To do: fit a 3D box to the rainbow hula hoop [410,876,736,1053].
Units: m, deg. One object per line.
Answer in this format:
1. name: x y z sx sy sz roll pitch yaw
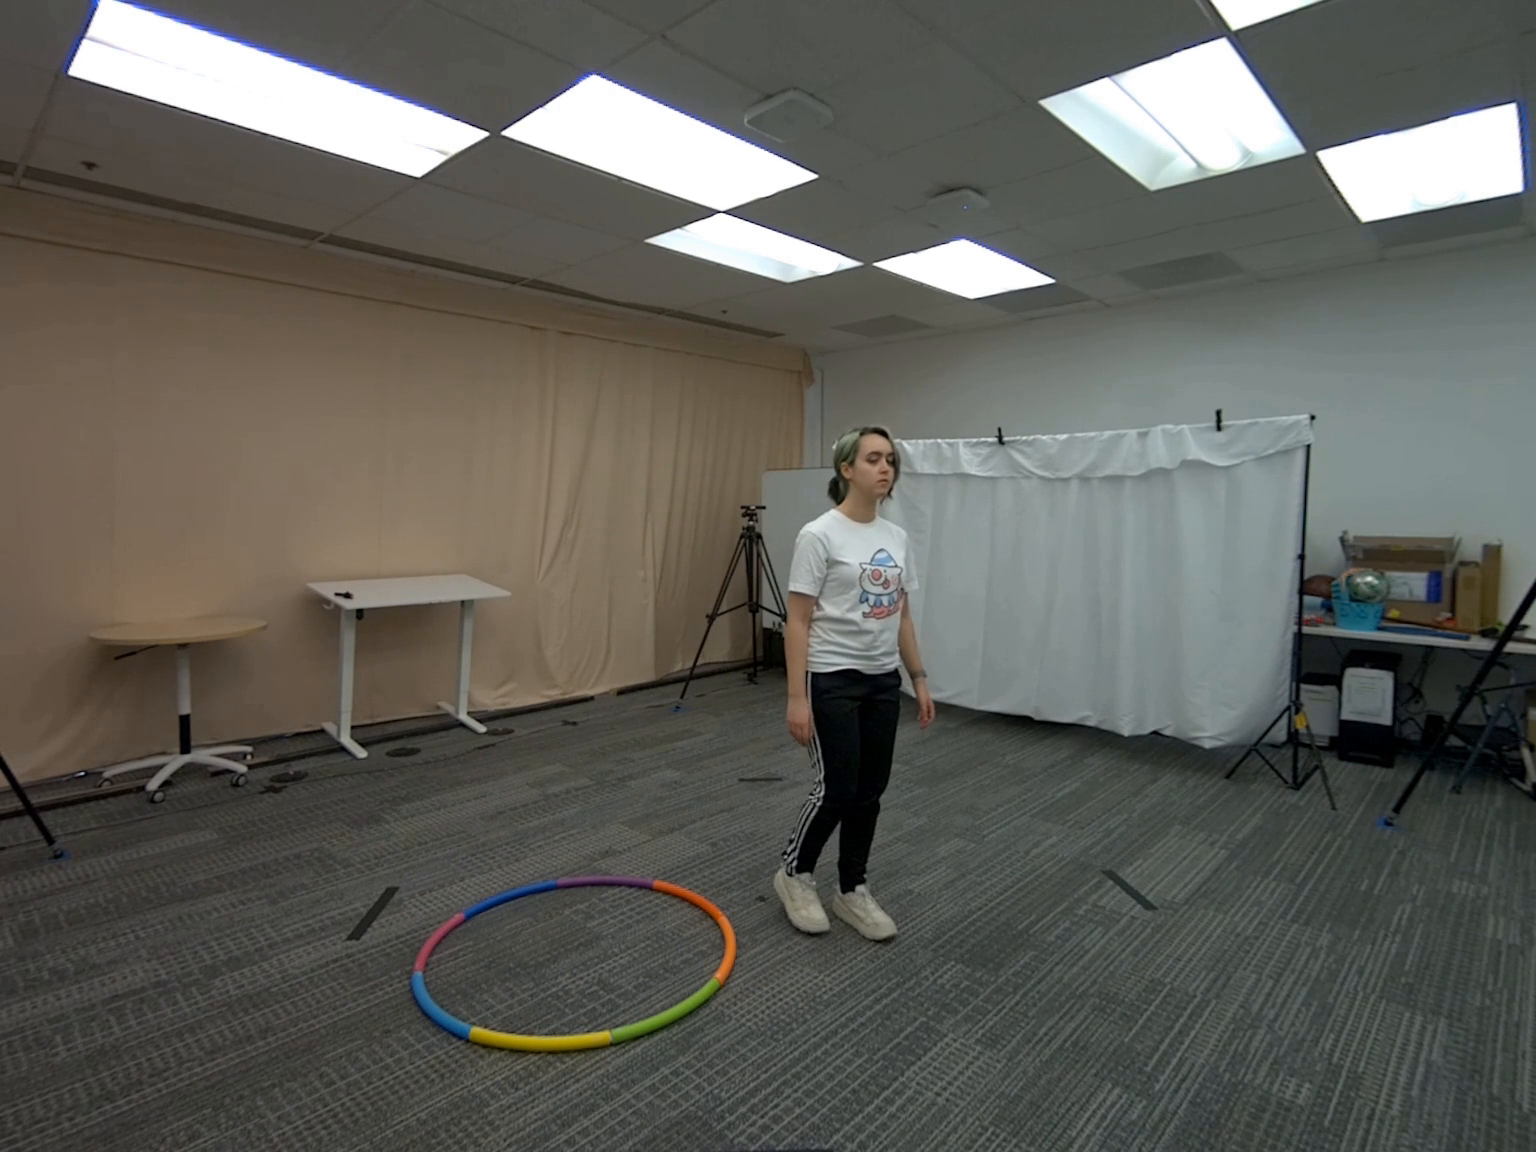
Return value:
1. rainbow hula hoop: -0.589 1.154 2.628 0.984 0.051 0.989 0 4 -2
